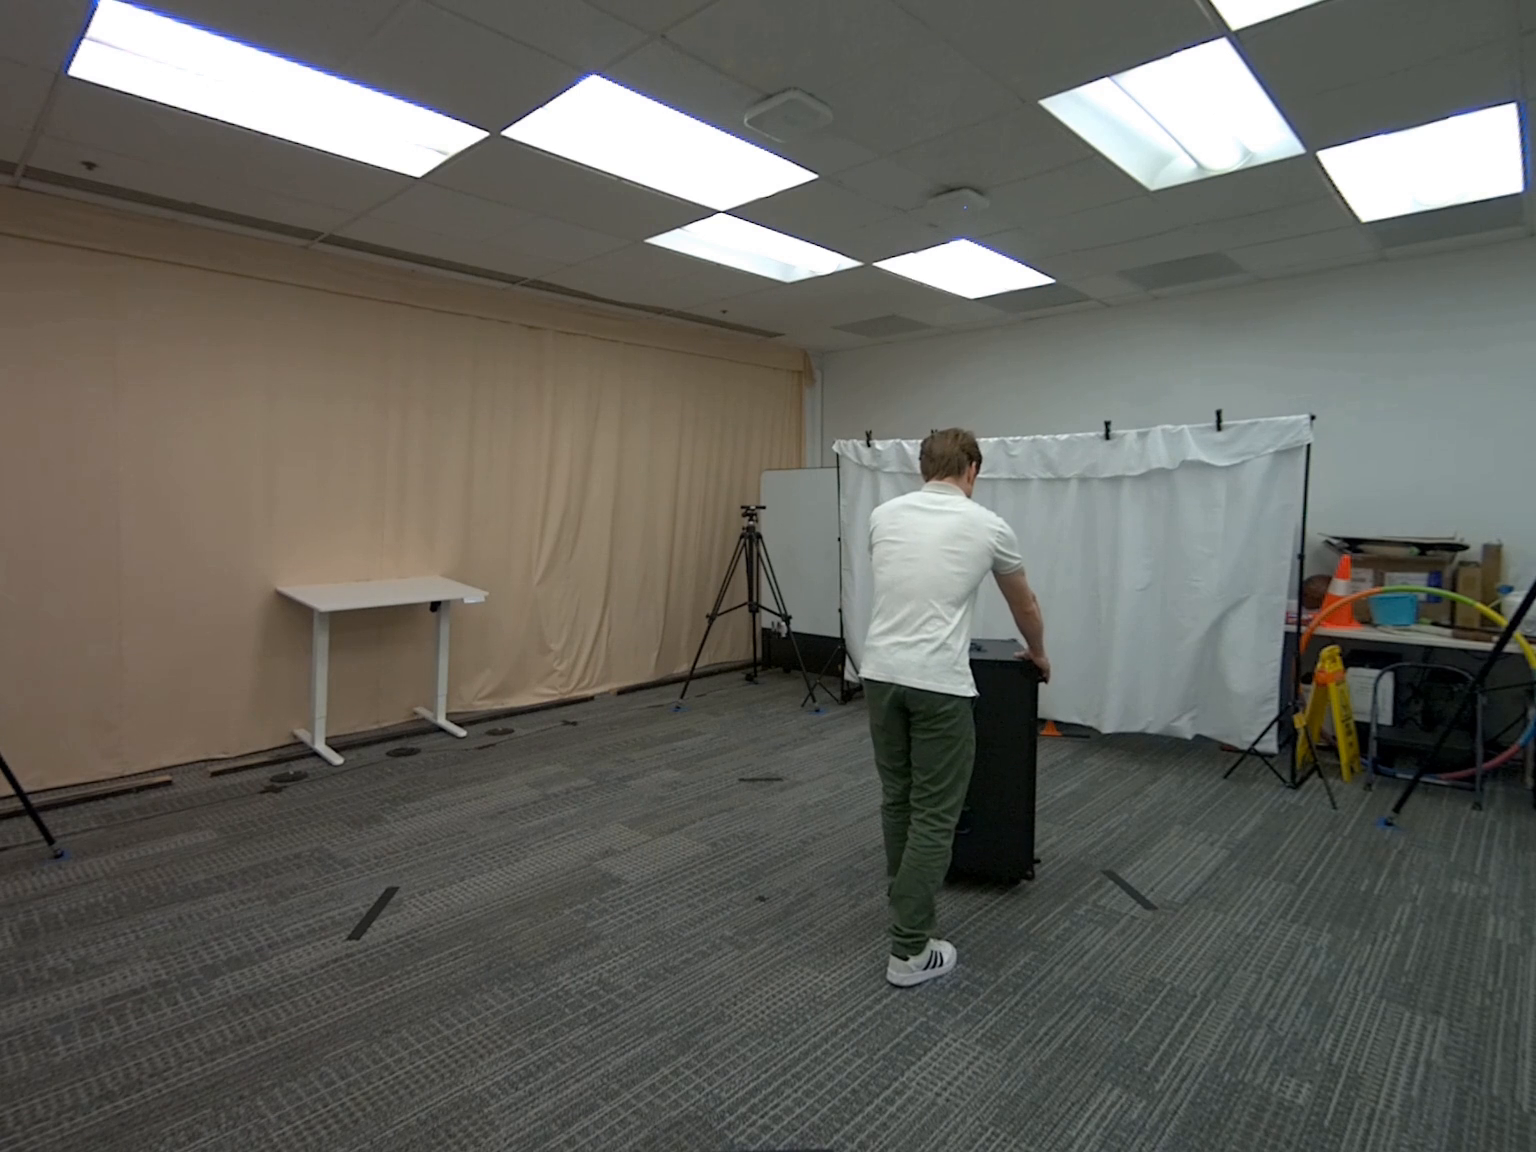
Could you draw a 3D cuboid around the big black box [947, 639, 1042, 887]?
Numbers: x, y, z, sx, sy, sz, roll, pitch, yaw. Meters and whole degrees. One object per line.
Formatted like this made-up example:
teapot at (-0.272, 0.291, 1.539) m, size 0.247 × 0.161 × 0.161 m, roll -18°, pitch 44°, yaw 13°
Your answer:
big black box at (0.805, 0.701, 3.220) m, size 0.389 × 0.866 × 0.519 m, roll 1°, pitch 4°, yaw 8°
